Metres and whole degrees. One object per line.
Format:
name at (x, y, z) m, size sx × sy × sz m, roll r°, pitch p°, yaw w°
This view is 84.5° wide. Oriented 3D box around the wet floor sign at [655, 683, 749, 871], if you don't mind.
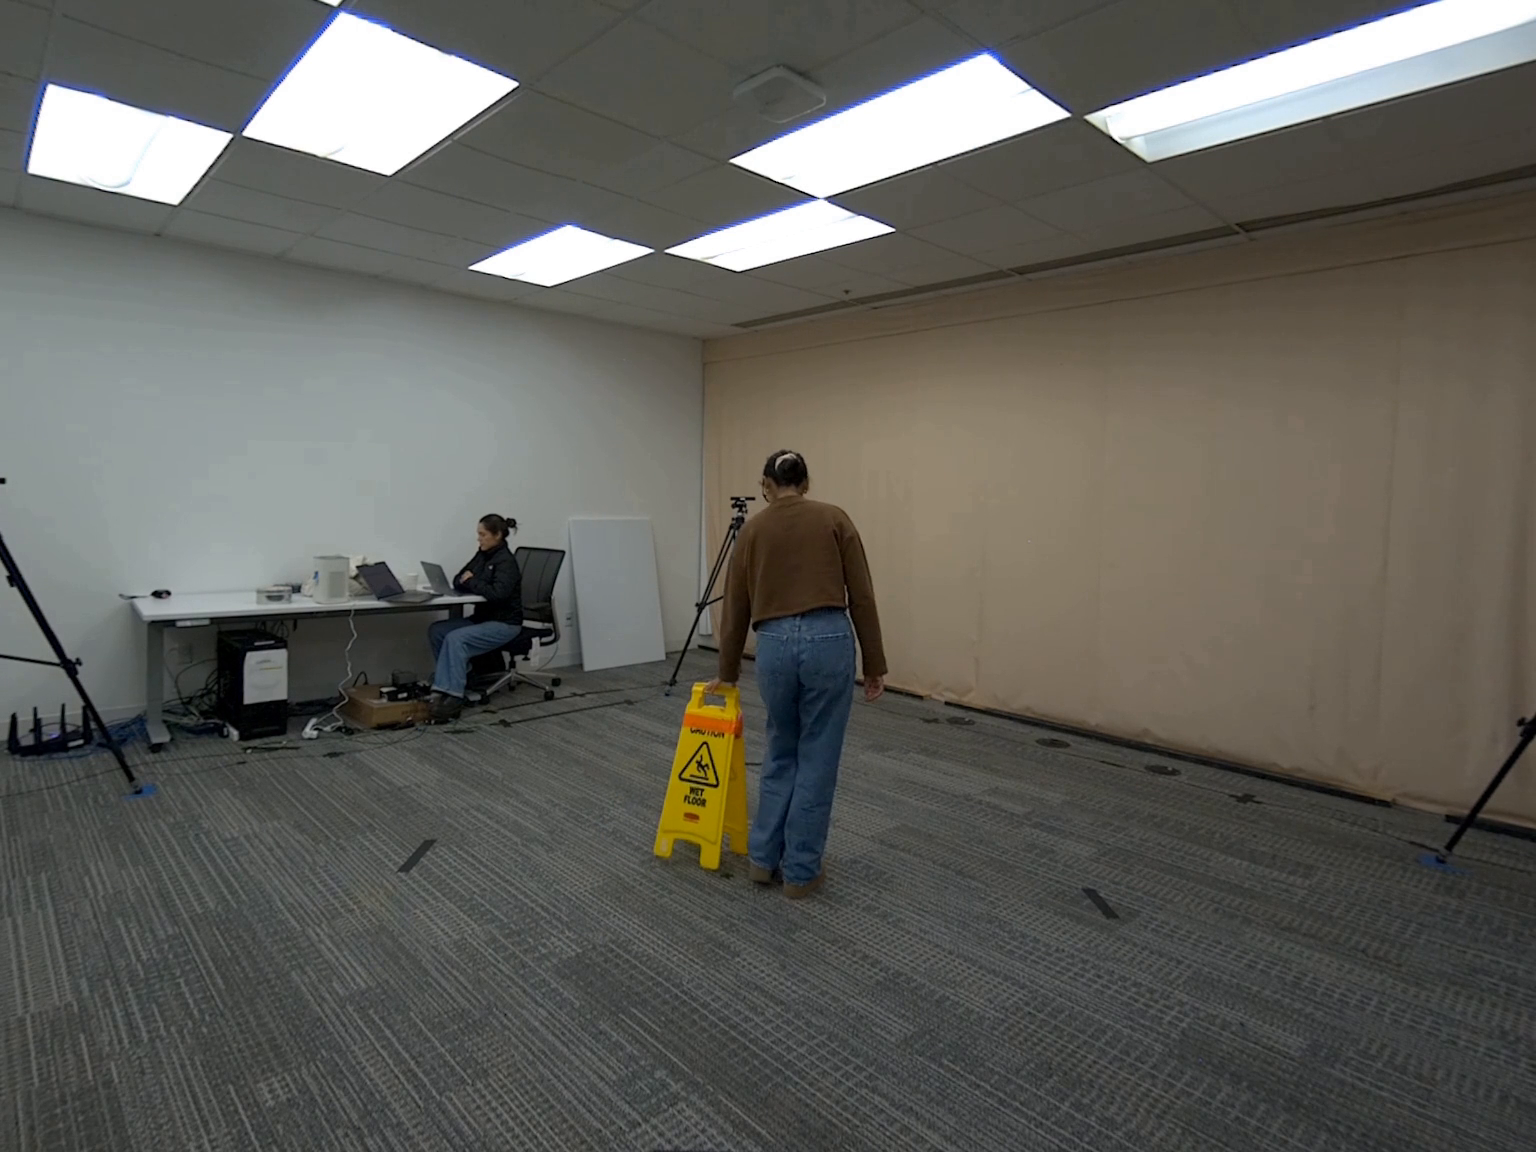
wet floor sign at (-0.238, 0.752, 3.271) m, size 0.288 × 0.648 × 0.283 m, roll 4°, pitch -5°, yaw 25°
